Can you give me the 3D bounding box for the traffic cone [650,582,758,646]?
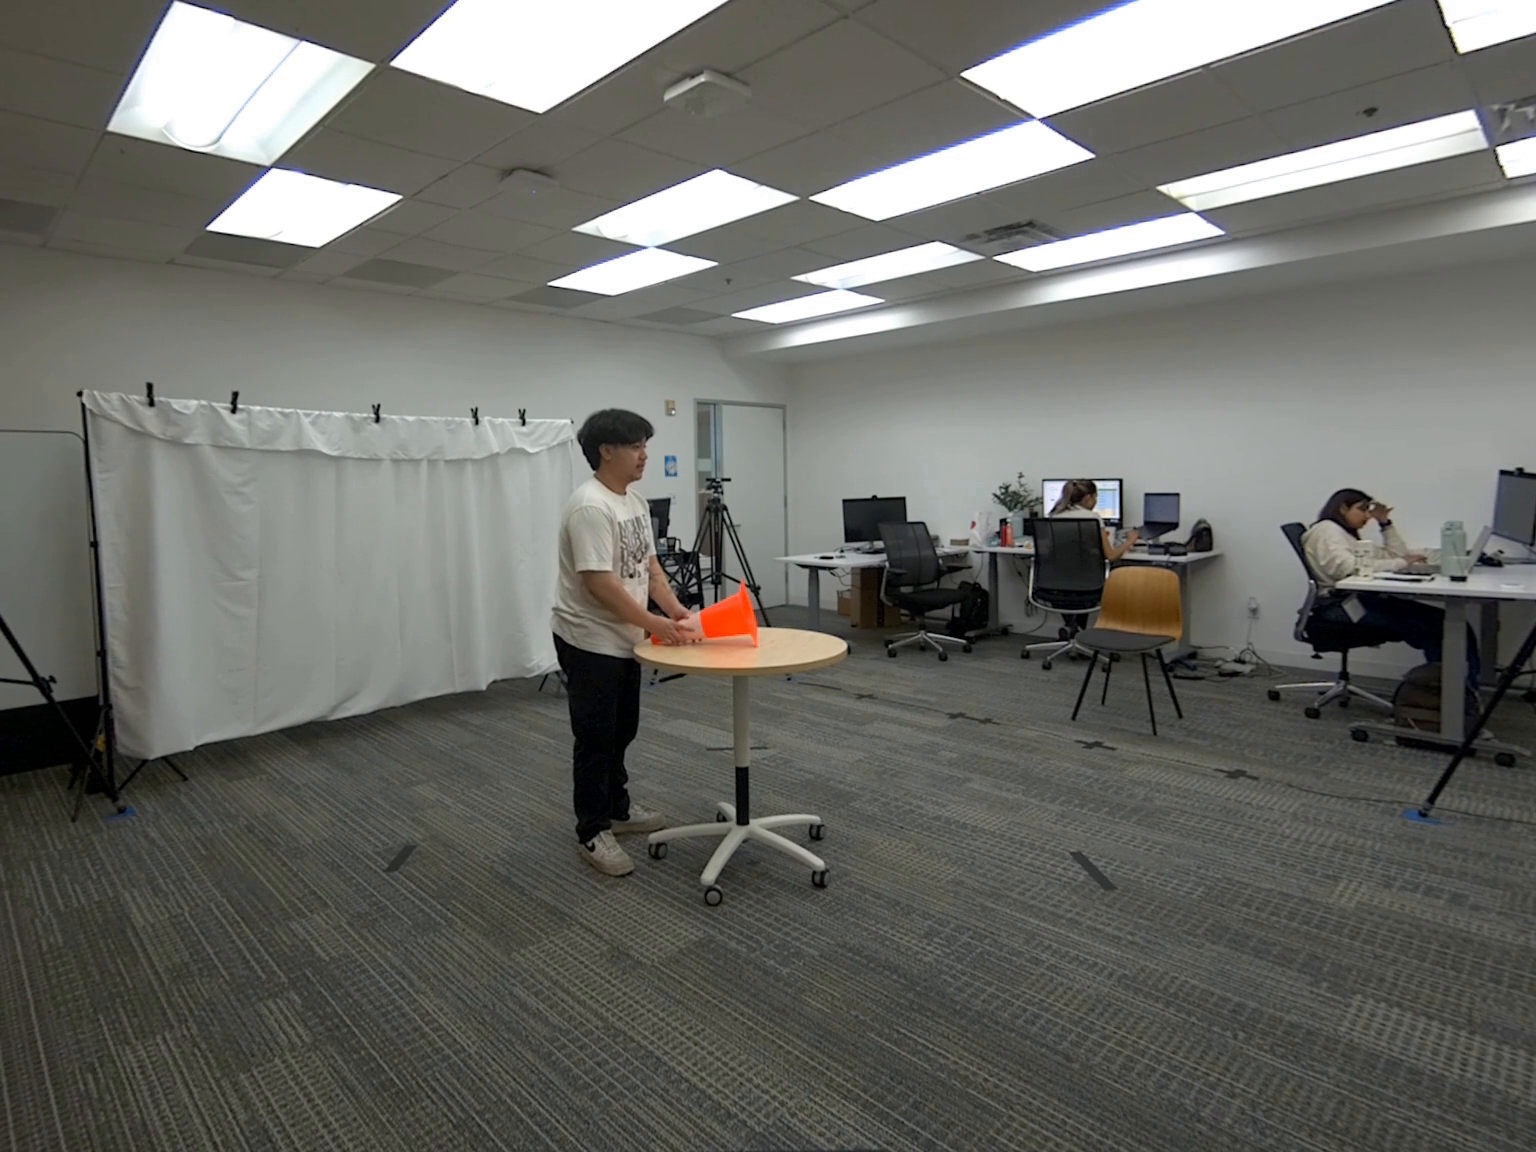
[{"bbox_3d":[-0.253,0.186,3.109,0.386,0.200,0.206,-13,22,8],"label":"traffic cone"}]
